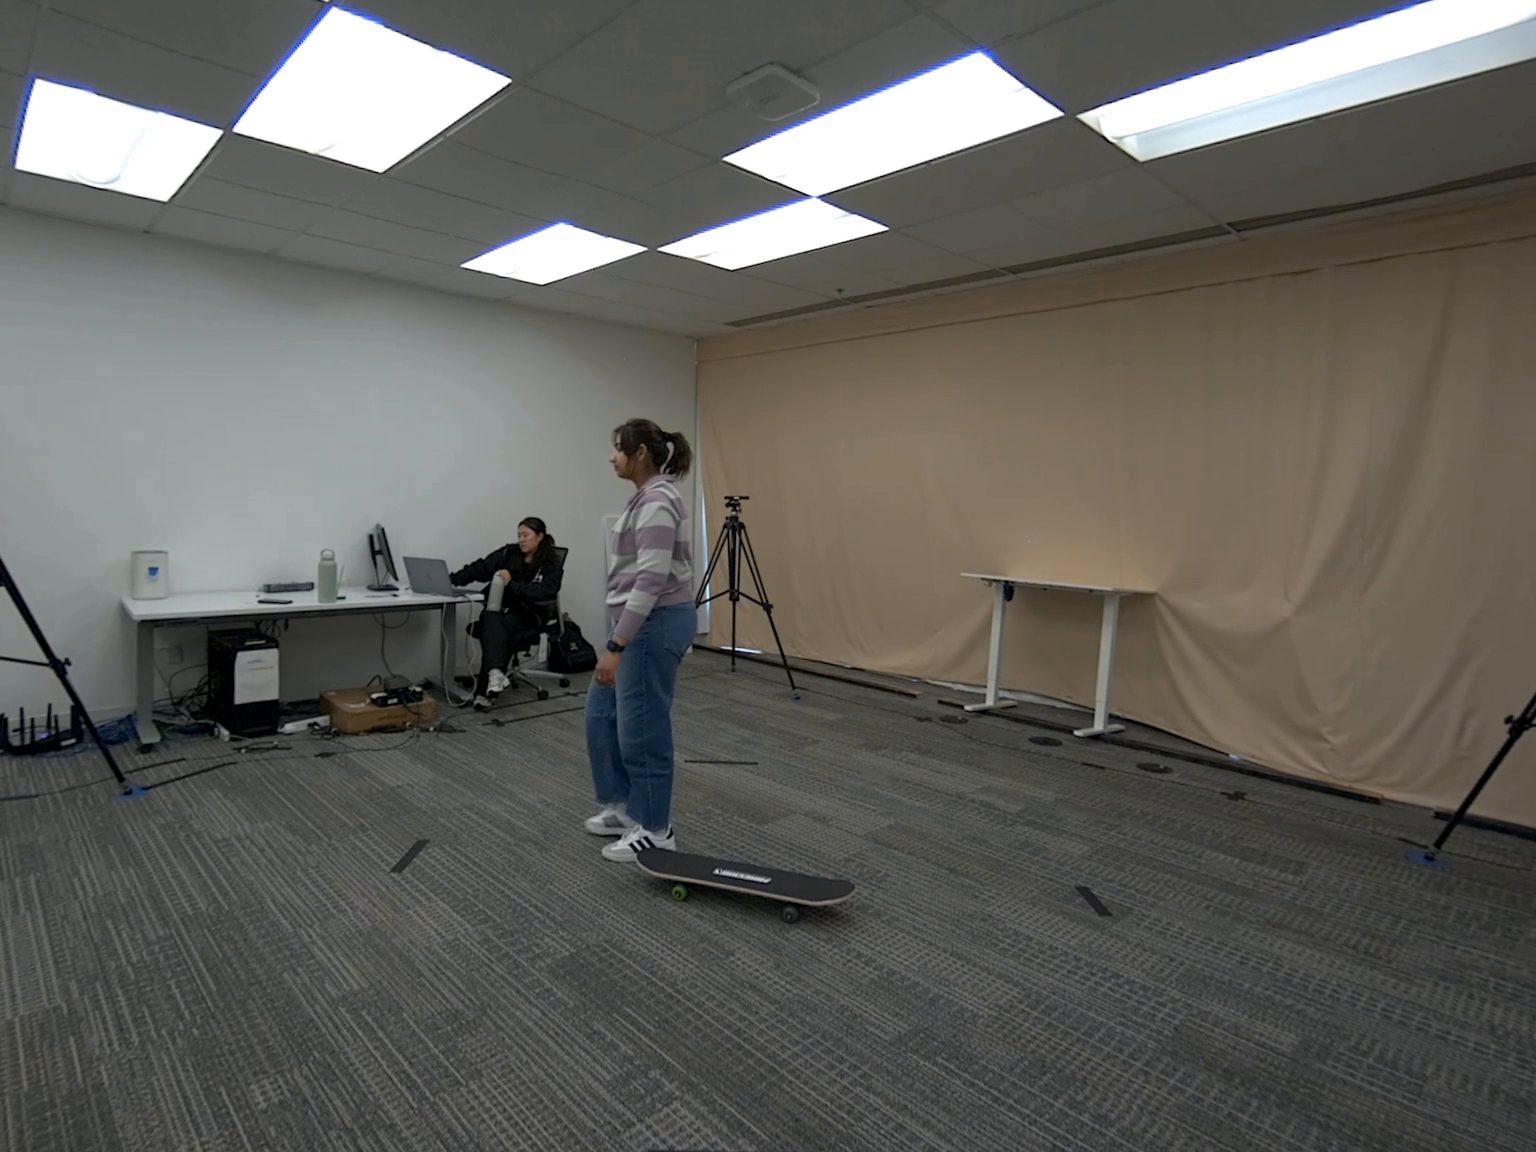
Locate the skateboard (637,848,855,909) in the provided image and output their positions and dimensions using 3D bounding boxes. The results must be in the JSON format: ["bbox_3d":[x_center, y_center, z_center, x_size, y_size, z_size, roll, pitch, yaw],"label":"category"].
[{"bbox_3d":[-0.099,1.068,2.902,0.797,0.110,0.191,3,5,19],"label":"skateboard"}]
